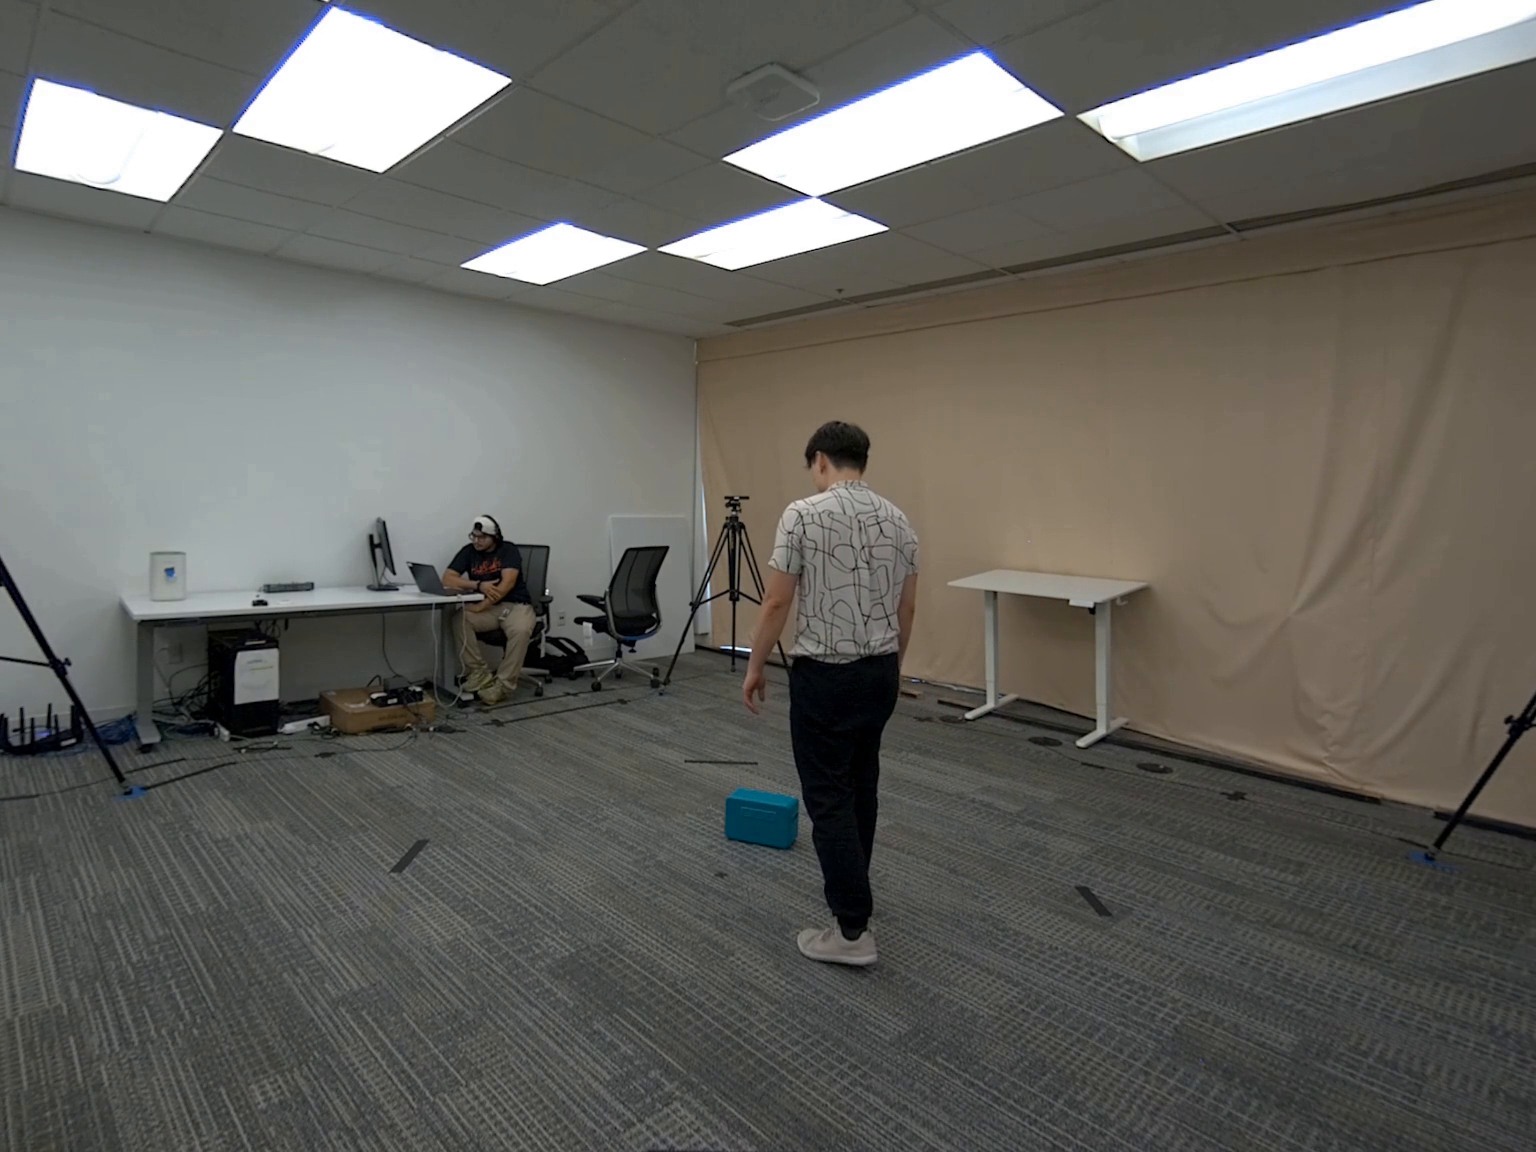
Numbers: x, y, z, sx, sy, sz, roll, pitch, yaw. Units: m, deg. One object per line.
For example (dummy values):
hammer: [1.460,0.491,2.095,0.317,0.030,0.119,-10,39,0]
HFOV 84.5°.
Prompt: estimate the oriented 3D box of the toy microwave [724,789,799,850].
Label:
toy microwave: [-0.030,0.985,3.438,0.291,0.183,0.150,3,4,22]
